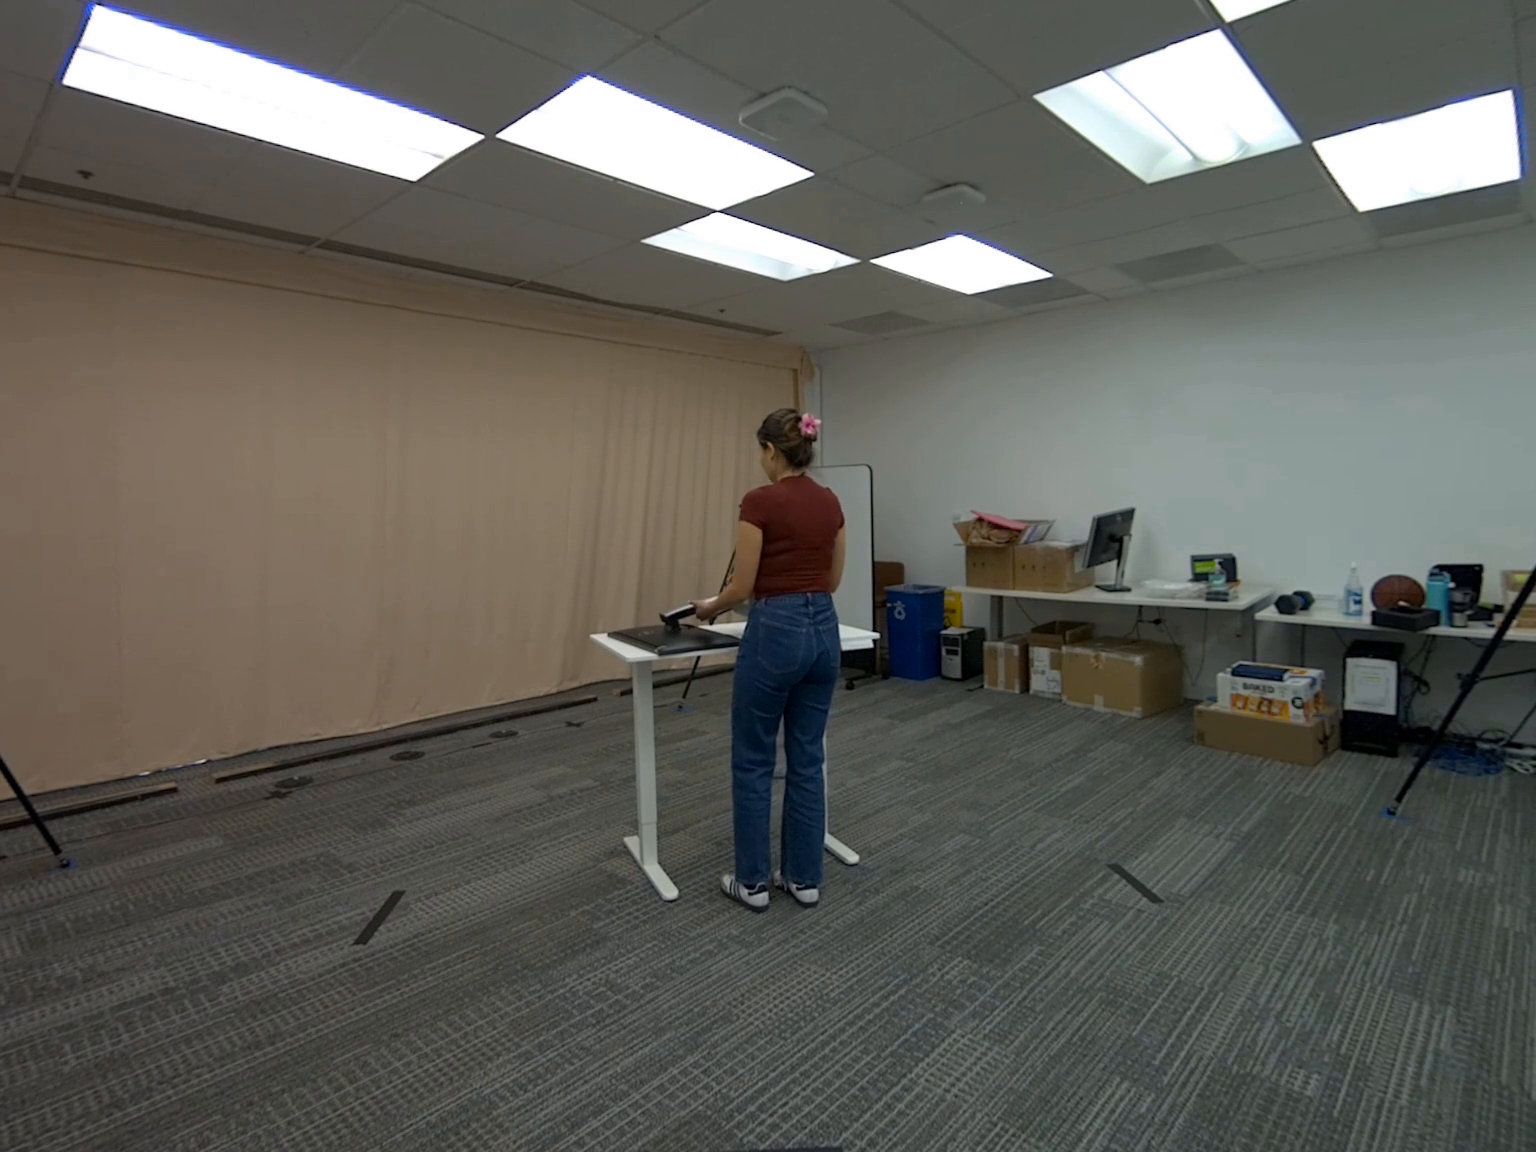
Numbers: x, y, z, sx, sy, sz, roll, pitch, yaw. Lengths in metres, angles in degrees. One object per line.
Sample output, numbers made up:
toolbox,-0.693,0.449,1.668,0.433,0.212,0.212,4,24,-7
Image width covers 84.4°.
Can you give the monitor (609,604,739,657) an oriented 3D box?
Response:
monitor,-0.294,0.183,3.244,0.514,0.185,0.554,-23,13,-25
